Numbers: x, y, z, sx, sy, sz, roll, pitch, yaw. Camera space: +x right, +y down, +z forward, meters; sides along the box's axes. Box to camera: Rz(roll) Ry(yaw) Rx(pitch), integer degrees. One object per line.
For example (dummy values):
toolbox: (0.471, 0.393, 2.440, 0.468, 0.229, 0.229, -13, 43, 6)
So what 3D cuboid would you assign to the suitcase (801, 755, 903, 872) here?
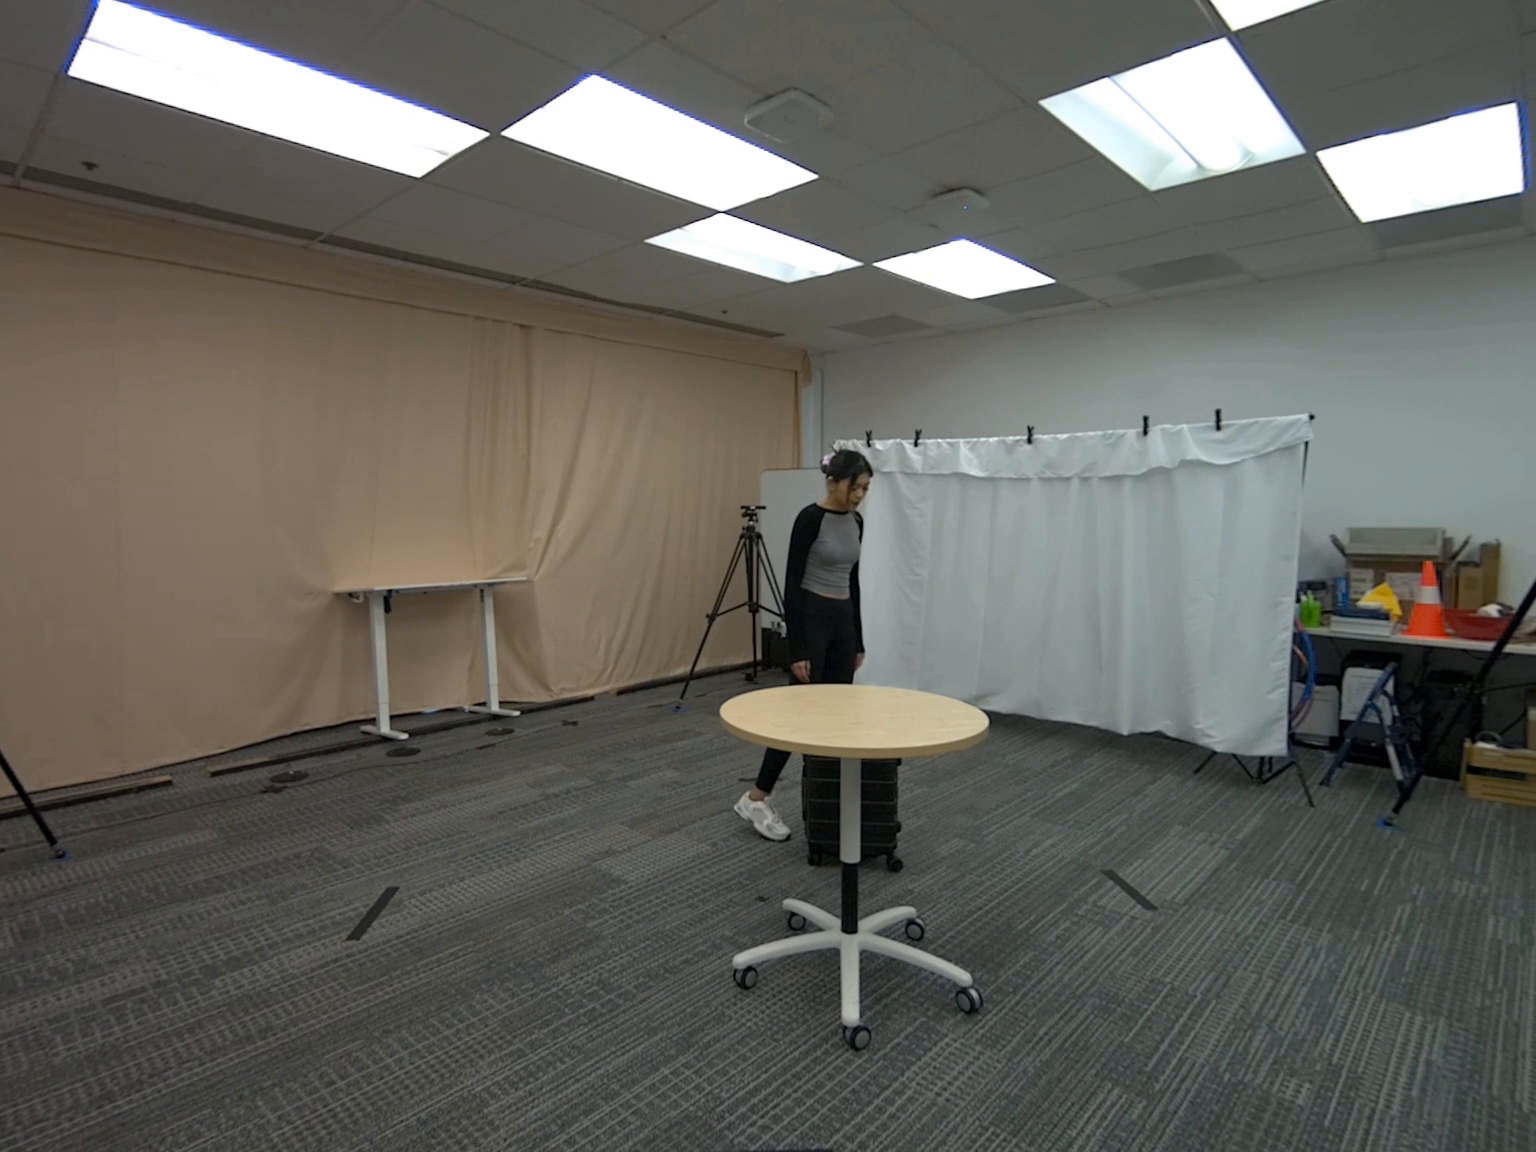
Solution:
suitcase: (0.334, 0.846, 3.330, 0.378, 0.549, 0.247, -1, 2, 6)
